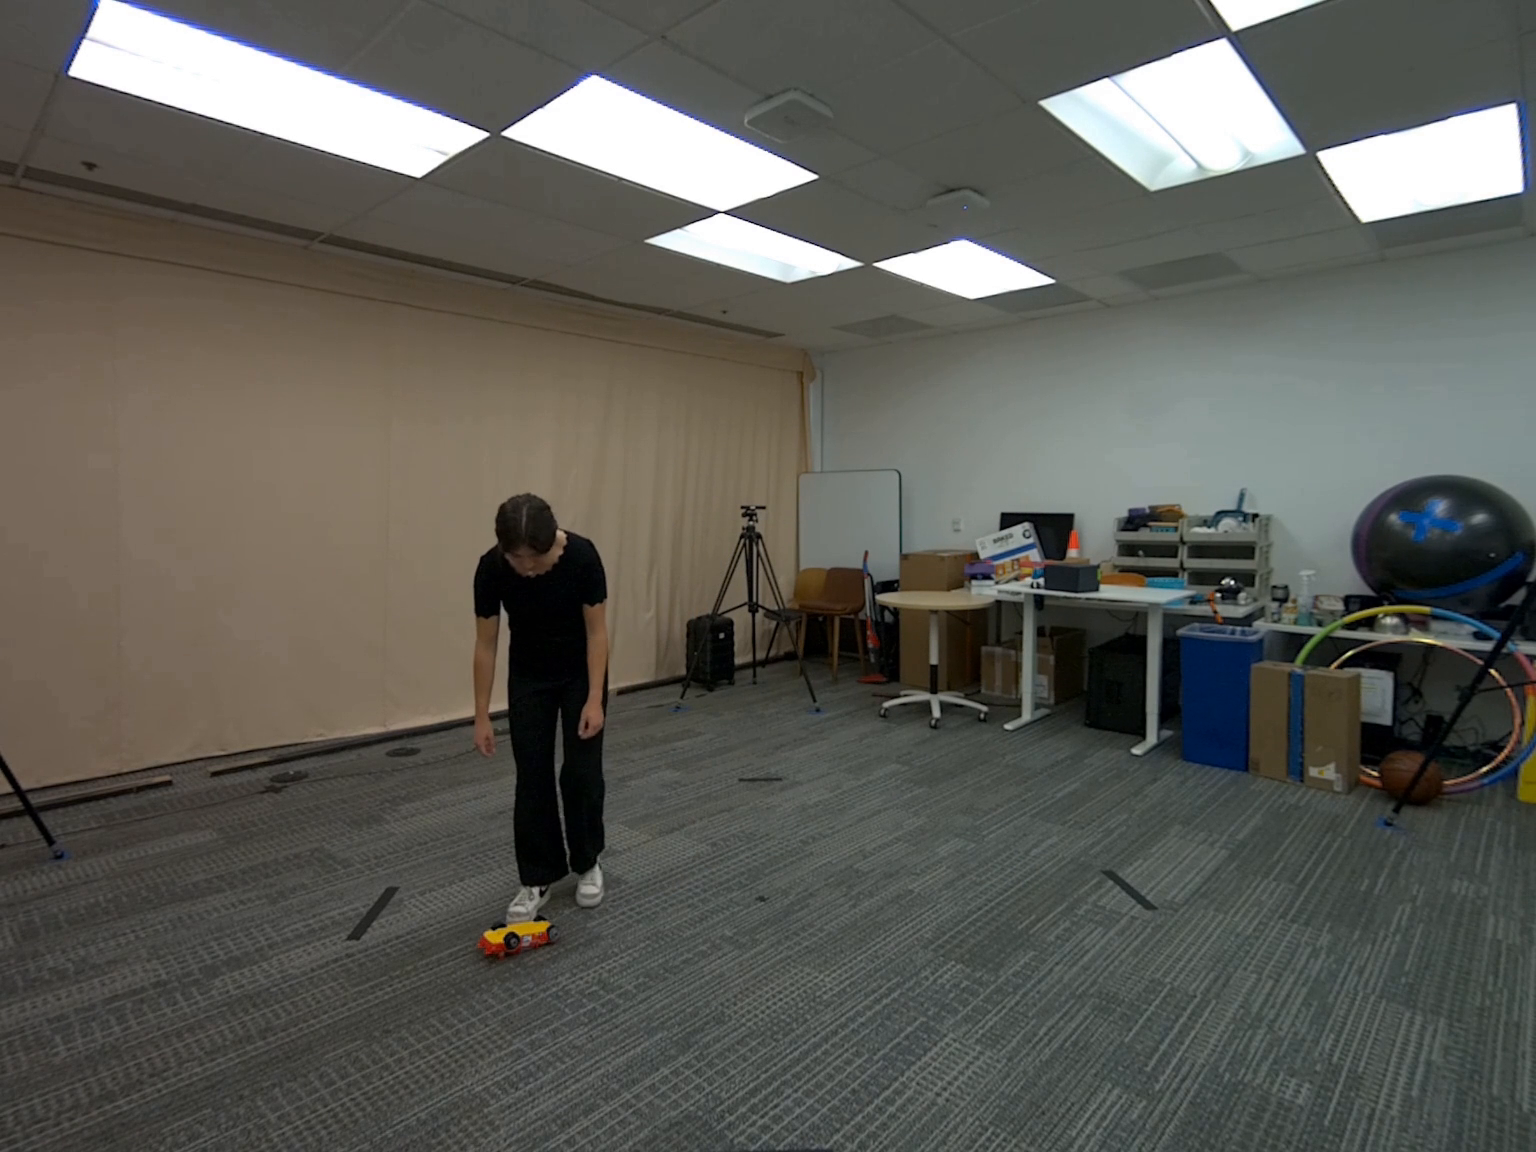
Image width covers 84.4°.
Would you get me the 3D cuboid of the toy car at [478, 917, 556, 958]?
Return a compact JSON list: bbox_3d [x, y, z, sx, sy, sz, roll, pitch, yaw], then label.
[{"bbox_3d":[-0.785,1.132,2.657,0.247,0.083,0.135,-5,7,-42],"label":"toy car"}]
